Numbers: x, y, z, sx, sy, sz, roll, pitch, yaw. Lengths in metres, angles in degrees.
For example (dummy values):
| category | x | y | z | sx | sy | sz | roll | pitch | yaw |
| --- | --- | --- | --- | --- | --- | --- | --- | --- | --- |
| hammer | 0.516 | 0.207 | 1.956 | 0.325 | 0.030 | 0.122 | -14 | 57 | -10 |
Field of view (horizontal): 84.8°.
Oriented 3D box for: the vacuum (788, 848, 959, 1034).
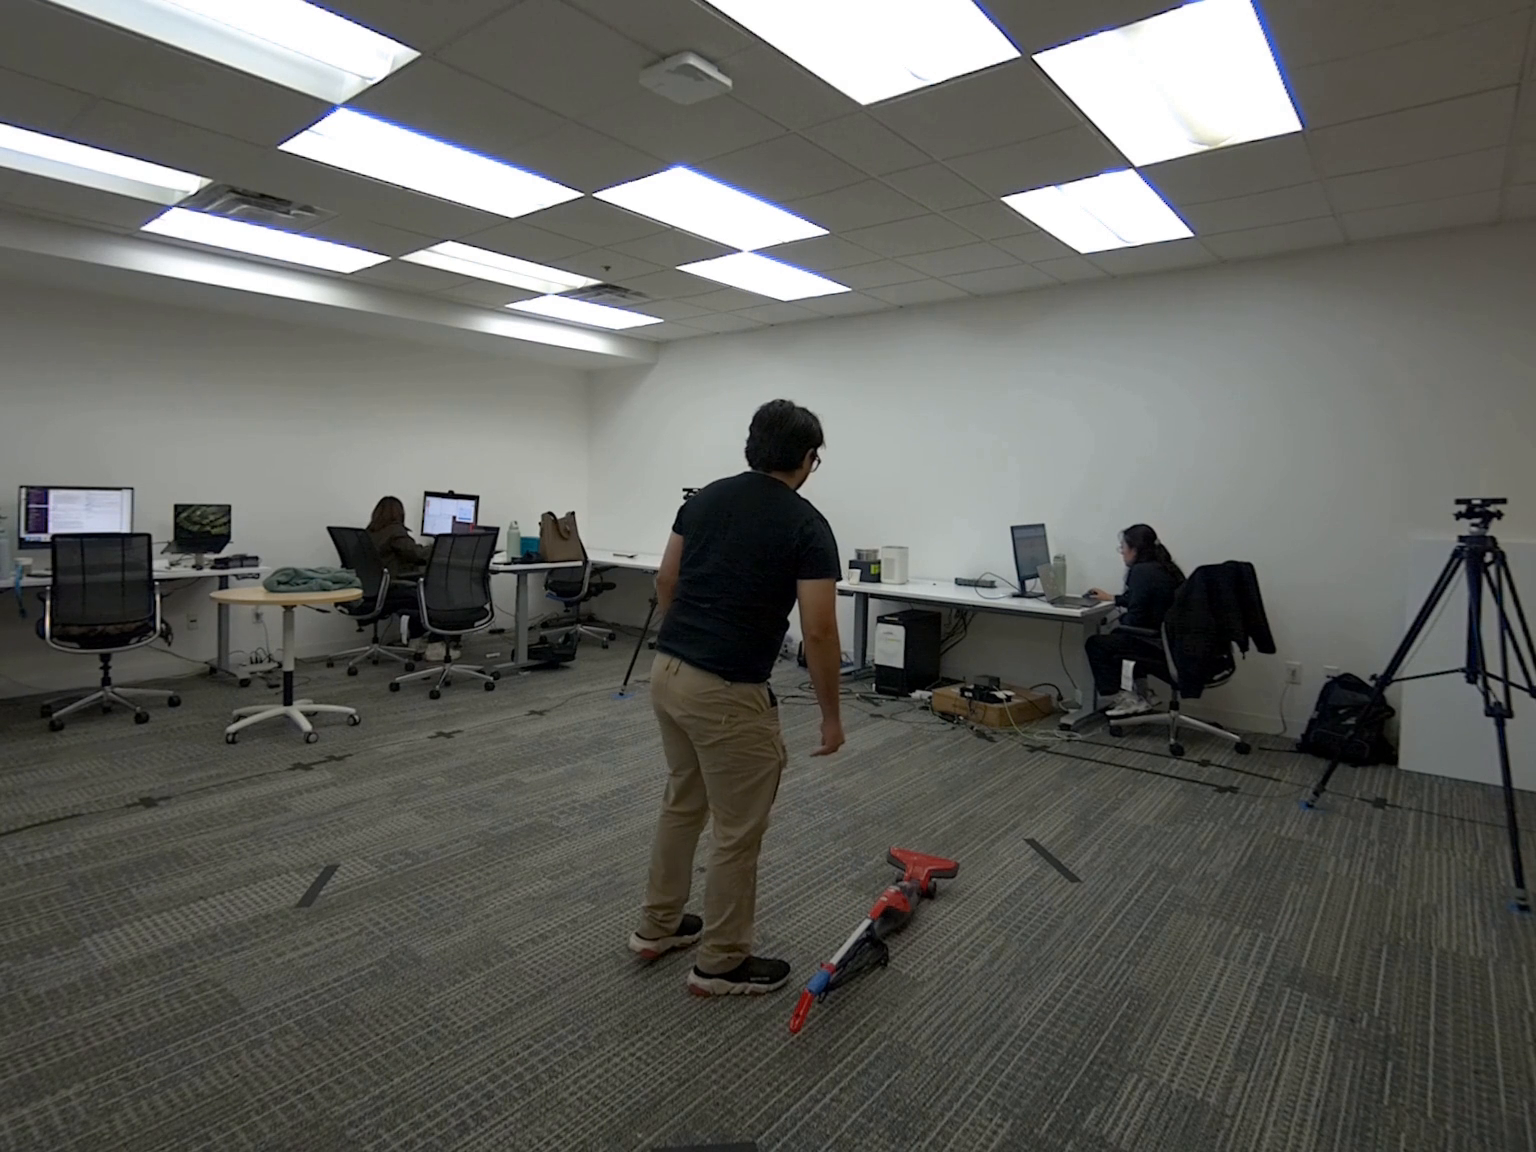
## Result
| category | x | y | z | sx | sy | sz | roll | pitch | yaw |
| --- | --- | --- | --- | --- | --- | --- | --- | --- | --- |
| vacuum | 0.300 | 1.081 | 2.552 | 0.259 | 0.143 | 1.024 | 2 | 5 | 27 |
